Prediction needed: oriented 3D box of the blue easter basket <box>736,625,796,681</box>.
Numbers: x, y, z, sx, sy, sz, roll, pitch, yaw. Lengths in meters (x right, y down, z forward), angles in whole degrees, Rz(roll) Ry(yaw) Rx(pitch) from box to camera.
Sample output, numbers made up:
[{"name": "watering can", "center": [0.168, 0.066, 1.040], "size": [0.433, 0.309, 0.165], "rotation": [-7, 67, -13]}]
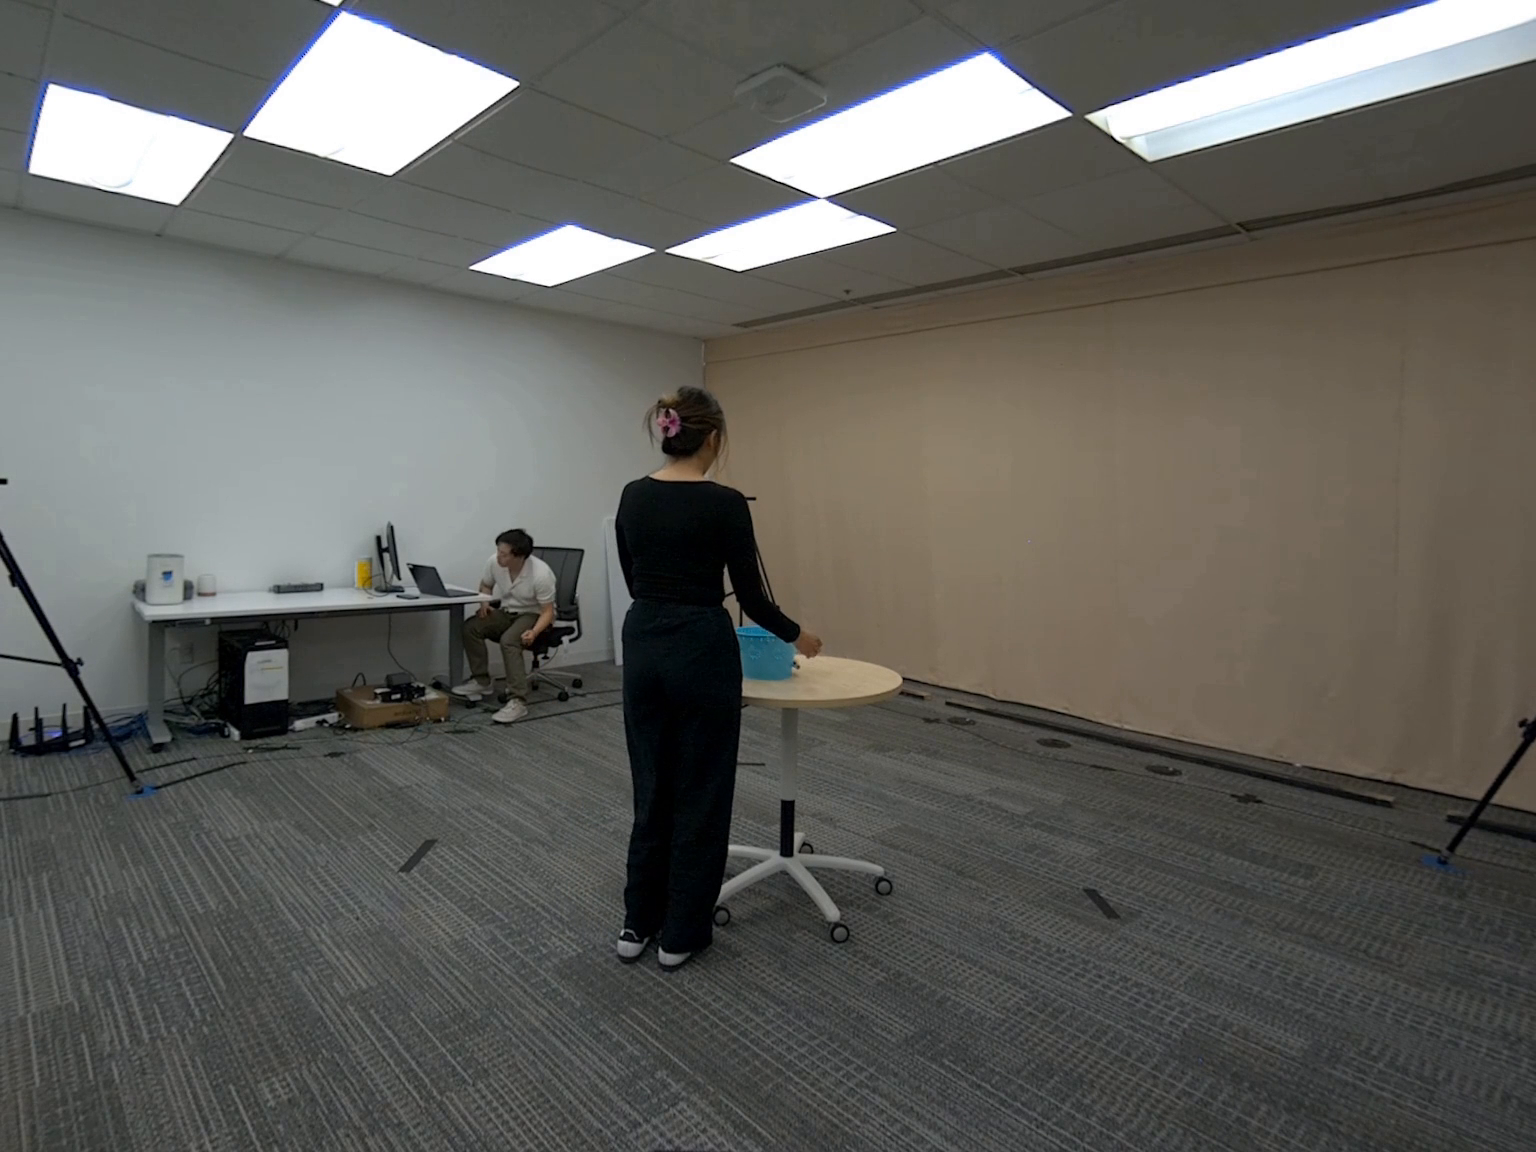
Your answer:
[{"name": "blue easter basket", "center": [-0.004, 0.271, 2.914], "size": [0.243, 0.155, 0.244], "rotation": [1, 5, -1]}]
